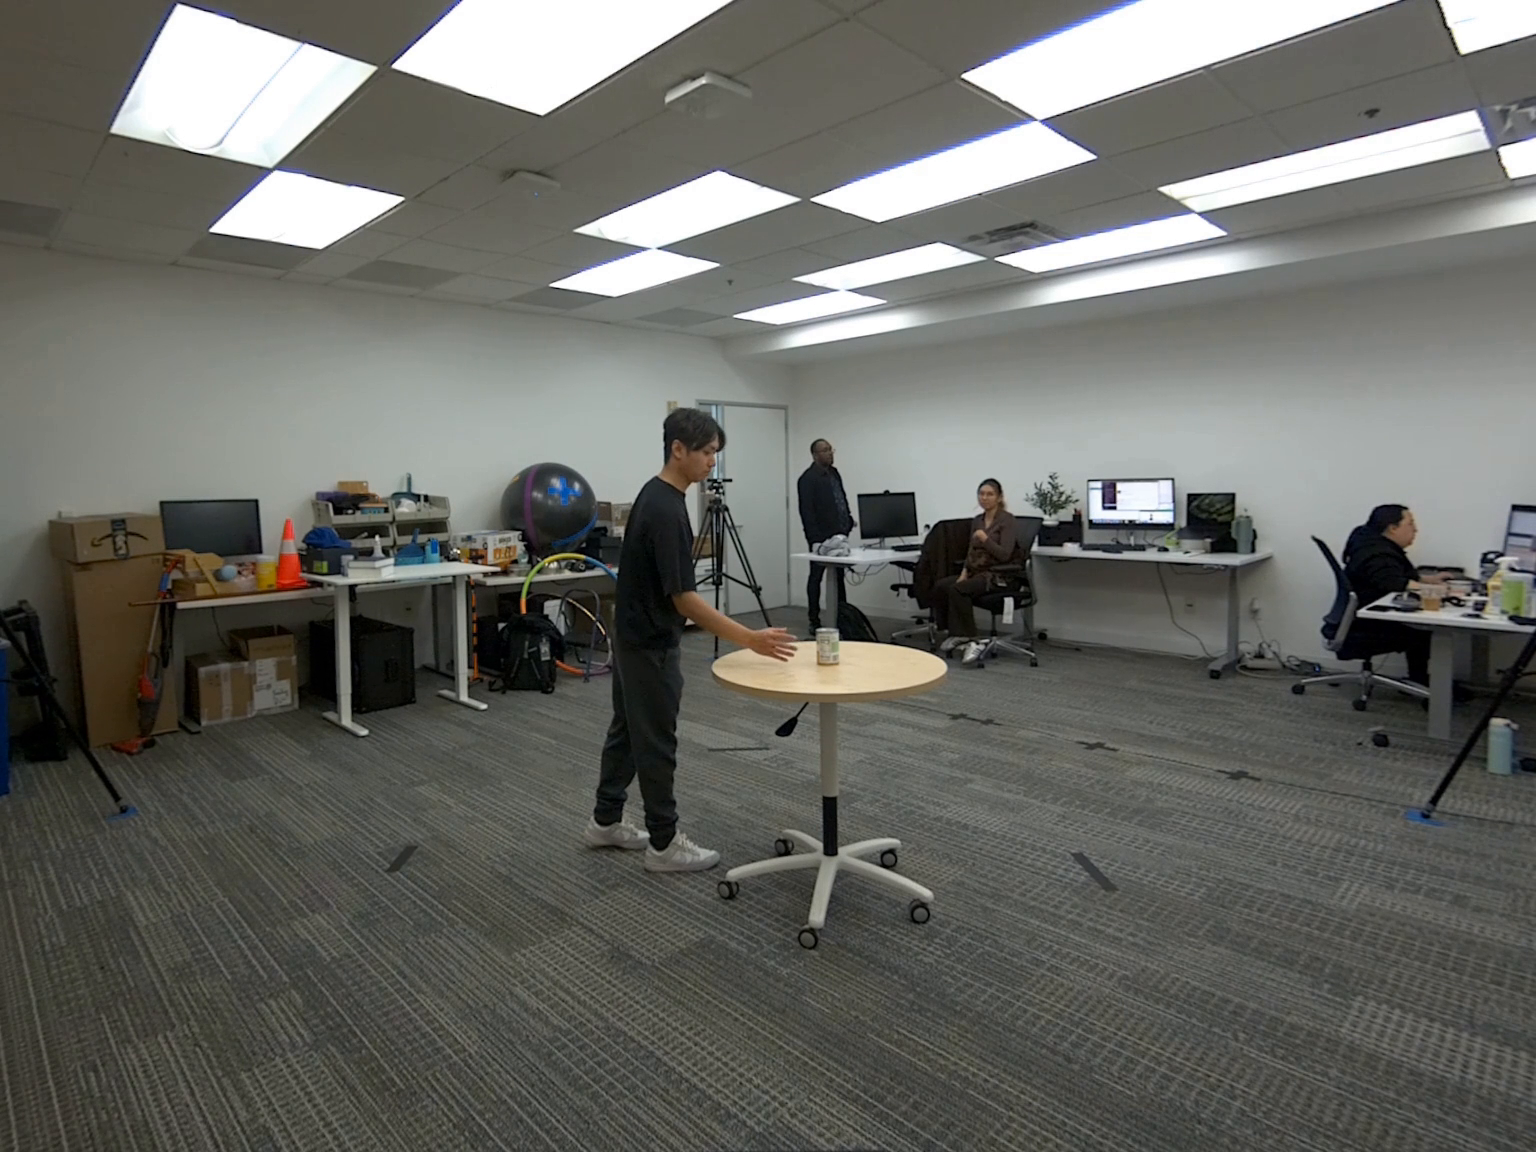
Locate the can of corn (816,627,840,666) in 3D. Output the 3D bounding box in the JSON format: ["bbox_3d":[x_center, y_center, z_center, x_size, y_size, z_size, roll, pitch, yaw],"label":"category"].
[{"bbox_3d":[0.196,0.230,2.822,0.074,0.111,0.074,0,2,-2],"label":"can of corn"}]
